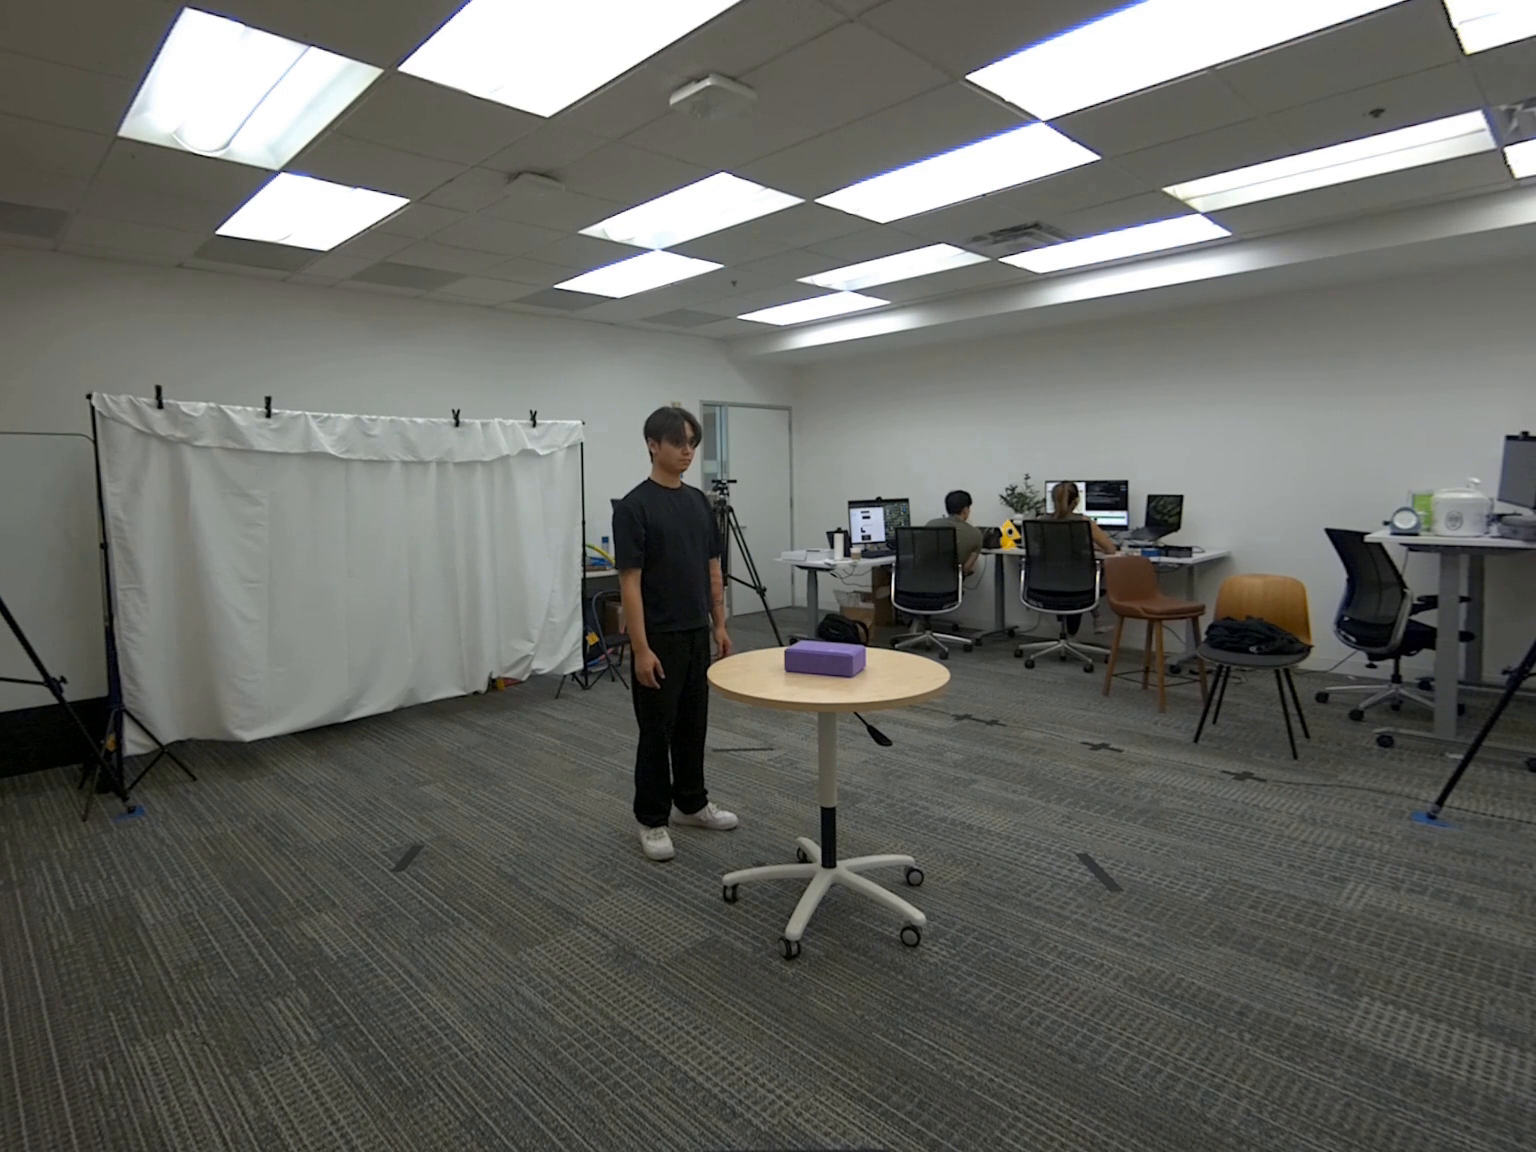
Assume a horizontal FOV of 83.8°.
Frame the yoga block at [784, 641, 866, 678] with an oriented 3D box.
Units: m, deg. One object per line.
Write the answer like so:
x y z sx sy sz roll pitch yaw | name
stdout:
0.188 0.265 2.727 0.235 0.076 0.146 2 7 25 | yoga block
